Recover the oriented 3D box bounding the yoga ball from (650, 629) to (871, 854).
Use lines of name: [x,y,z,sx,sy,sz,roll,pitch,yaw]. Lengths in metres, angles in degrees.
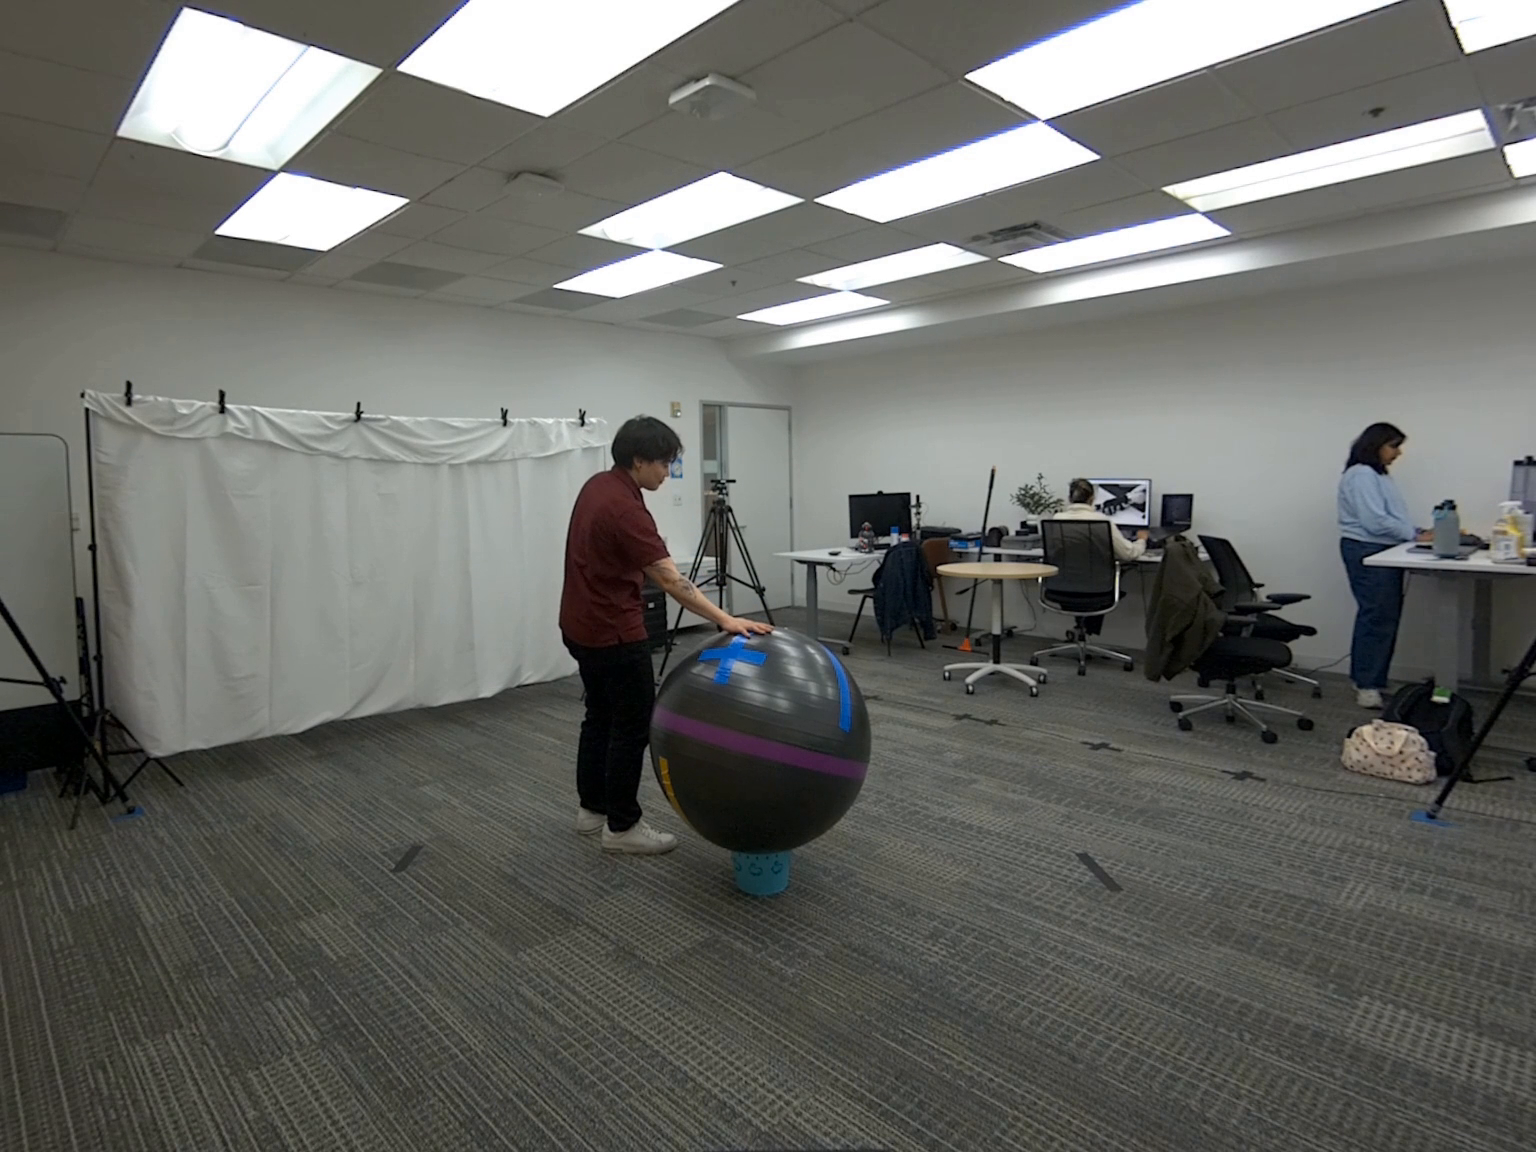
yoga ball: [-0.023,0.557,2.941,0.757,0.755,0.762,-1,5,-2]
